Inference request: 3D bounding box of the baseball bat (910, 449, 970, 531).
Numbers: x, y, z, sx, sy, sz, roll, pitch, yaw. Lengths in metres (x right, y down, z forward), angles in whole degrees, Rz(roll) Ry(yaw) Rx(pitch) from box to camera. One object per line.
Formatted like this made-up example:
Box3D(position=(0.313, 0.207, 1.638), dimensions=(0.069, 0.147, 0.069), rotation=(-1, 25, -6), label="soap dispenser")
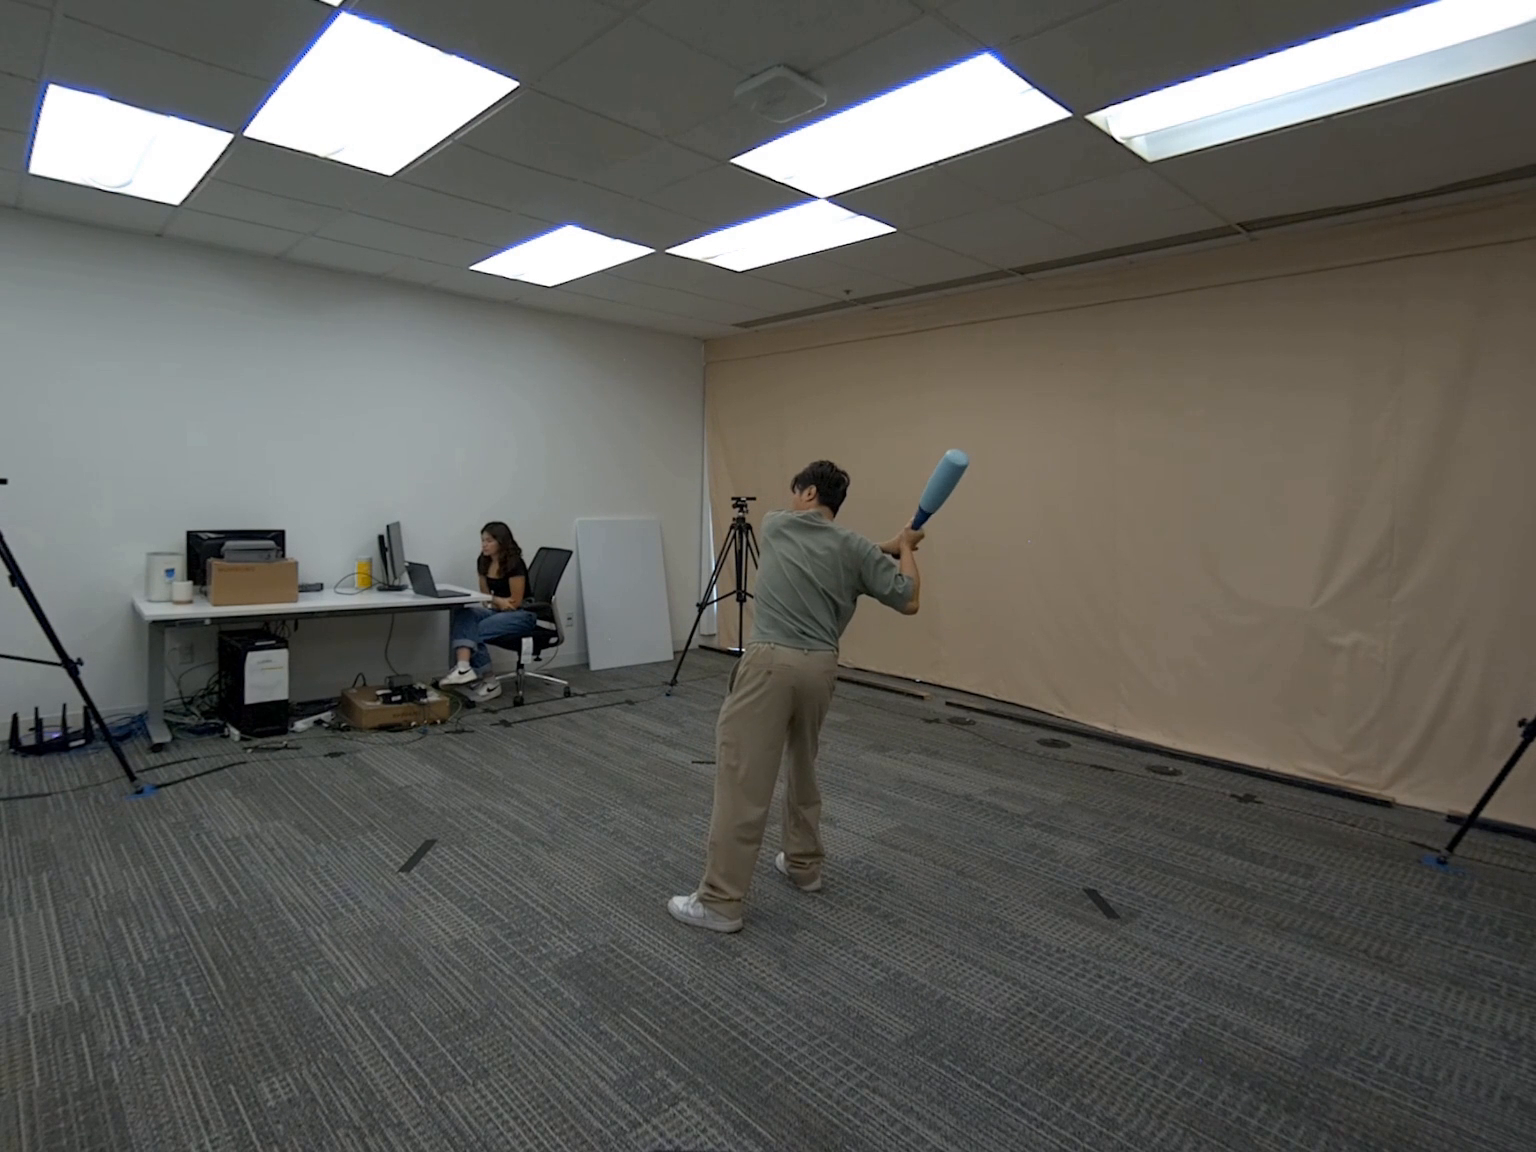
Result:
Box3D(position=(0.560, -0.234, 3.007), dimensions=(0.088, 0.091, 0.536), rotation=(1, -38, -19), label="baseball bat")
